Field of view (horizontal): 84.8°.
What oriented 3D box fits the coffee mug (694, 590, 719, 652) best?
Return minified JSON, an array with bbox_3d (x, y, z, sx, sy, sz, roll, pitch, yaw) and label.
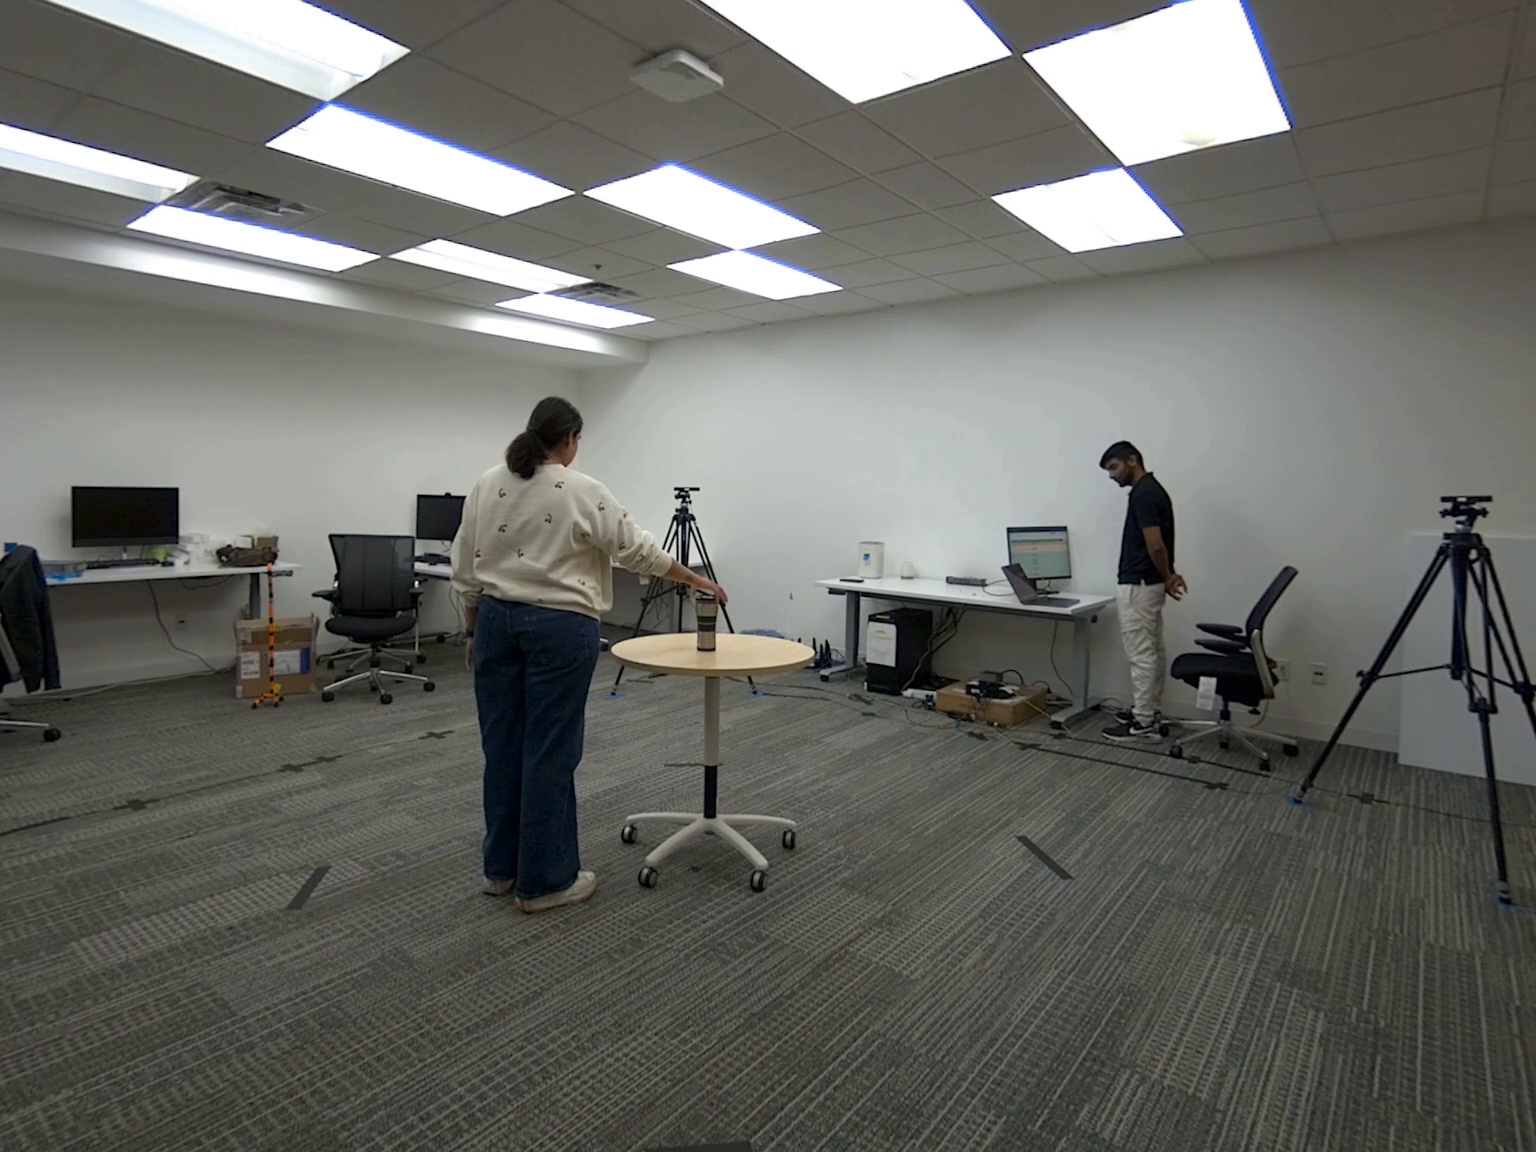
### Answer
[{"bbox_3d":[-0.226,0.175,3.204,0.090,0.202,0.119,0,4,34],"label":"coffee mug"}]
